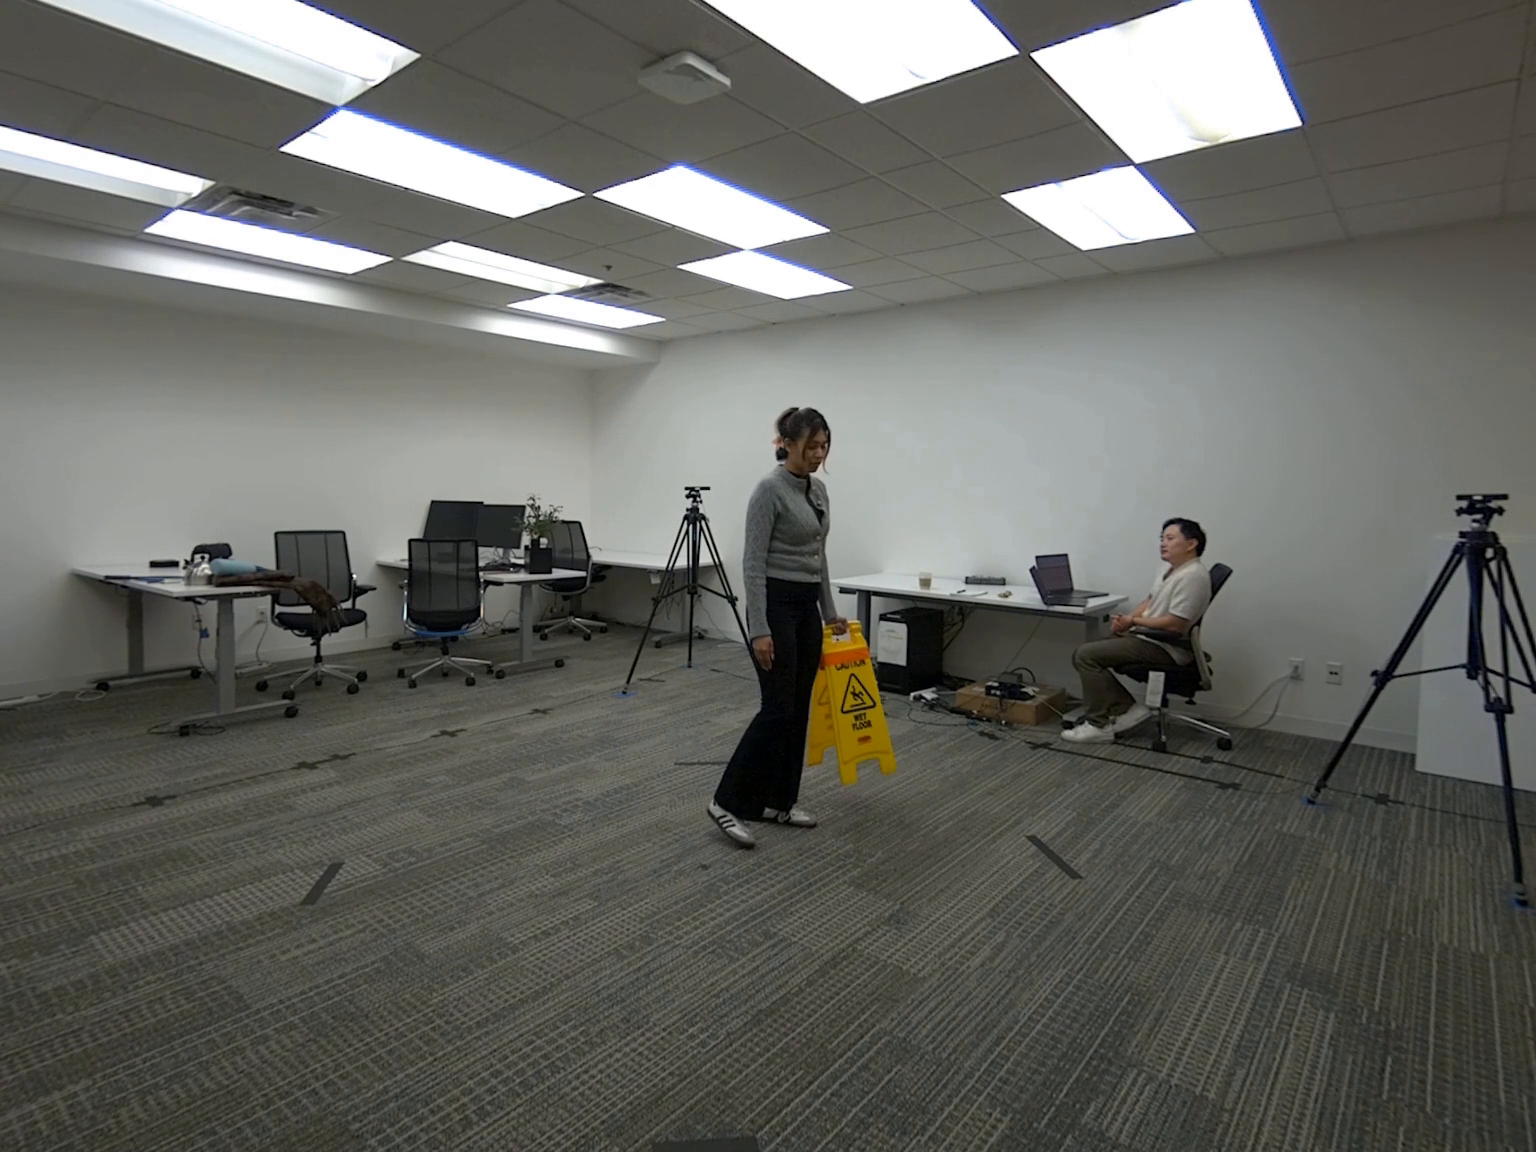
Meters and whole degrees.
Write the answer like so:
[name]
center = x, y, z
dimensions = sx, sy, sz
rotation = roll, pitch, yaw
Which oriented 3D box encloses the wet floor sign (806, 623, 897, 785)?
[wet floor sign]
center = 0.332, 0.522, 3.715
dimensions = 0.276, 0.643, 0.297
rotation = -6, 5, -26
